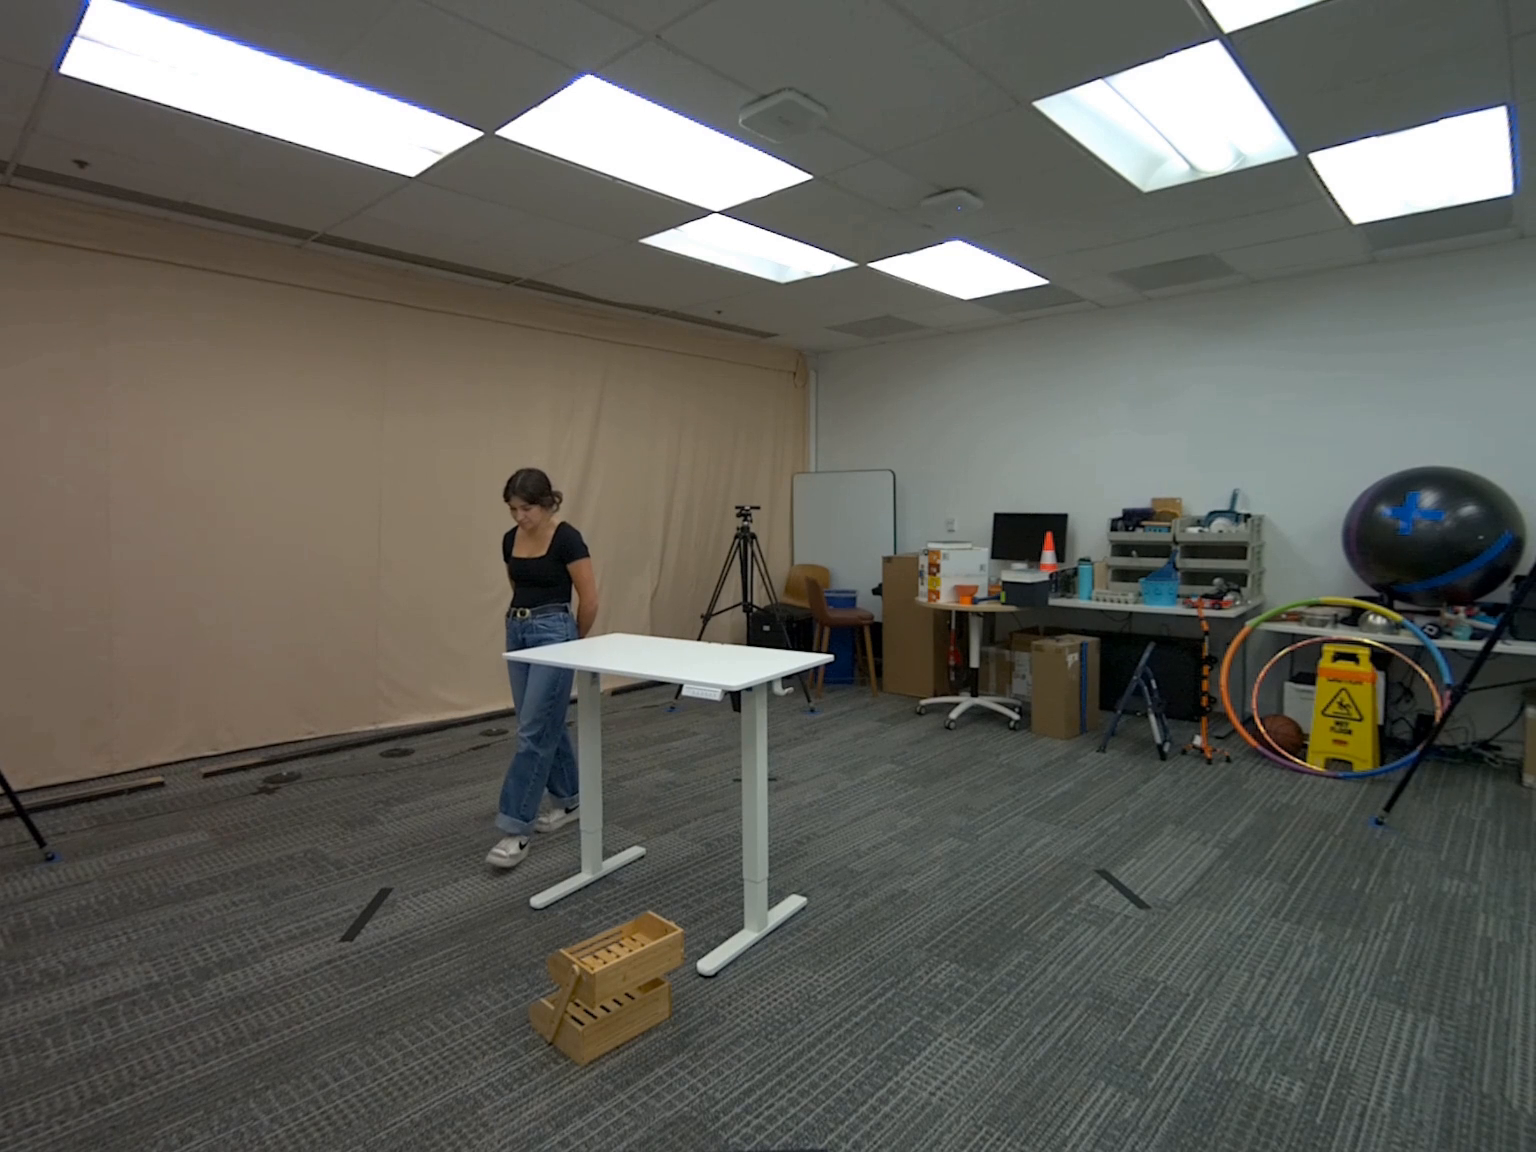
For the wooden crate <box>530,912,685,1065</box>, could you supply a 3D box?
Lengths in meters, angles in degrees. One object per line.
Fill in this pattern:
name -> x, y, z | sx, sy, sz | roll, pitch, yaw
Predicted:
wooden crate -> -0.437, 1.076, 2.255 | 0.312, 0.273, 0.314 | 4, 6, 44
